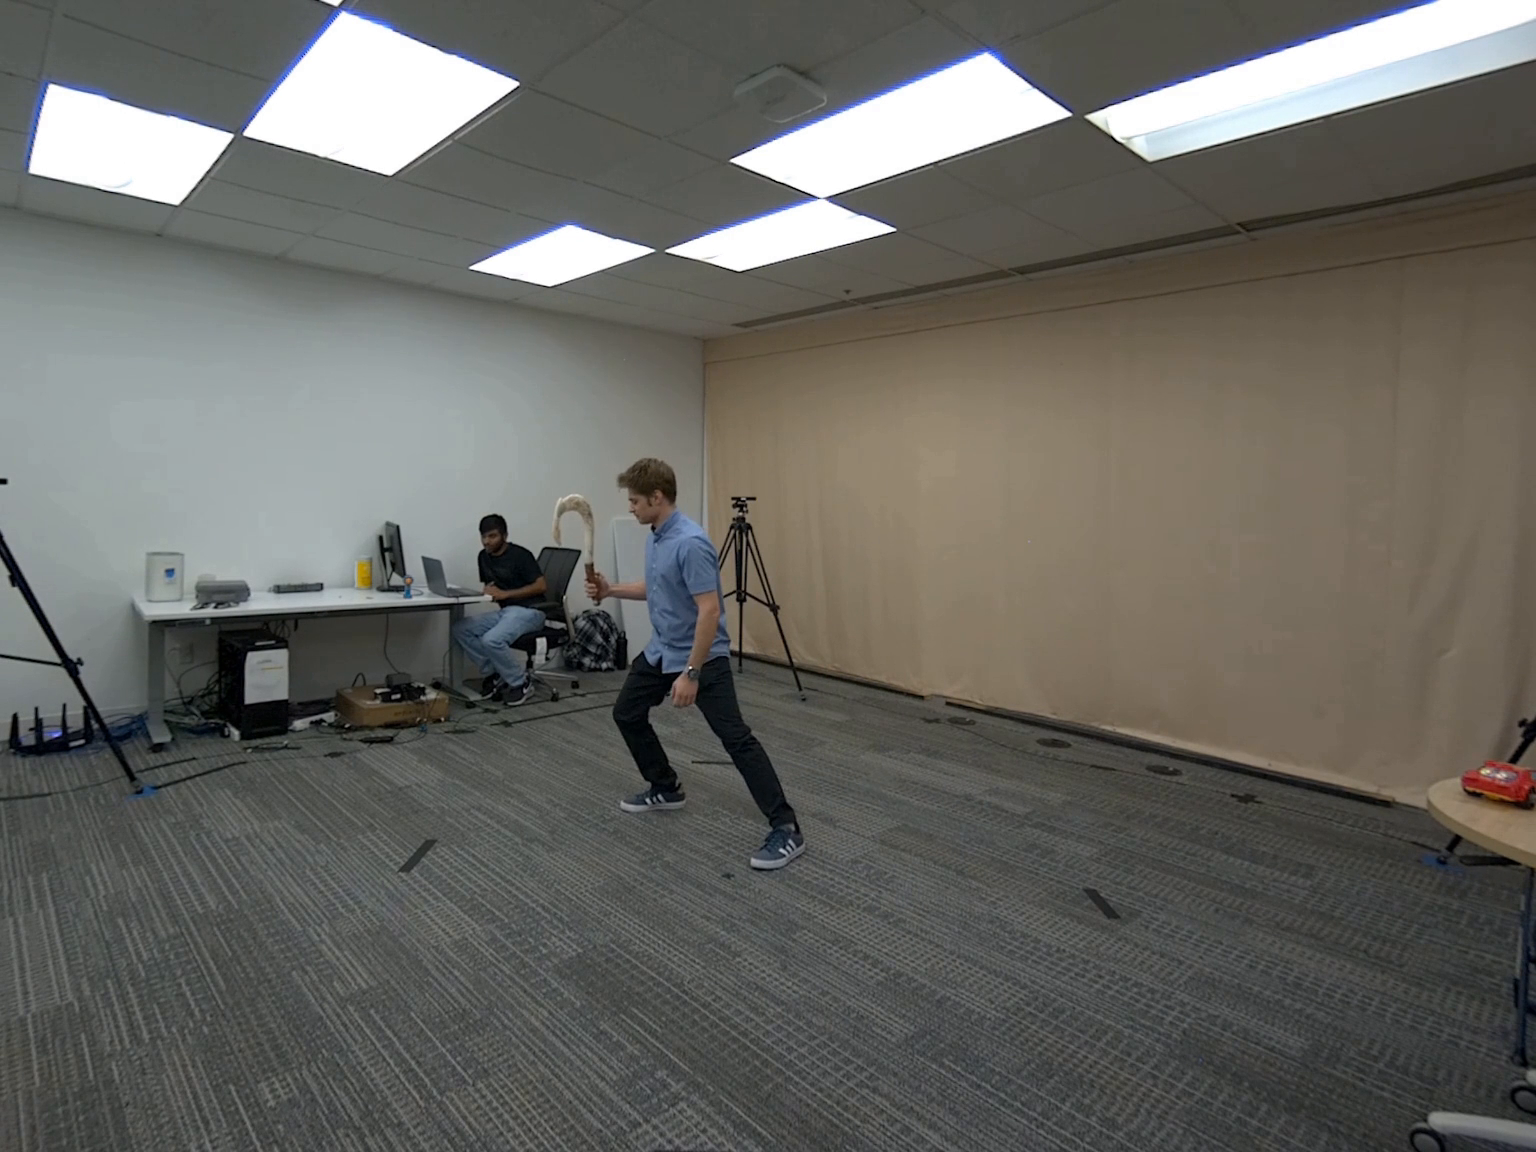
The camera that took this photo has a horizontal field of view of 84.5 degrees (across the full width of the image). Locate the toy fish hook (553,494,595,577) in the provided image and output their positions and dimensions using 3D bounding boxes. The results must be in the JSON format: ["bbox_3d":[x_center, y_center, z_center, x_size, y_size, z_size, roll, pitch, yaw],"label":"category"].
[{"bbox_3d":[-0.815,-0.102,3.627,0.049,0.500,0.221,4,19,42],"label":"toy fish hook"}]
